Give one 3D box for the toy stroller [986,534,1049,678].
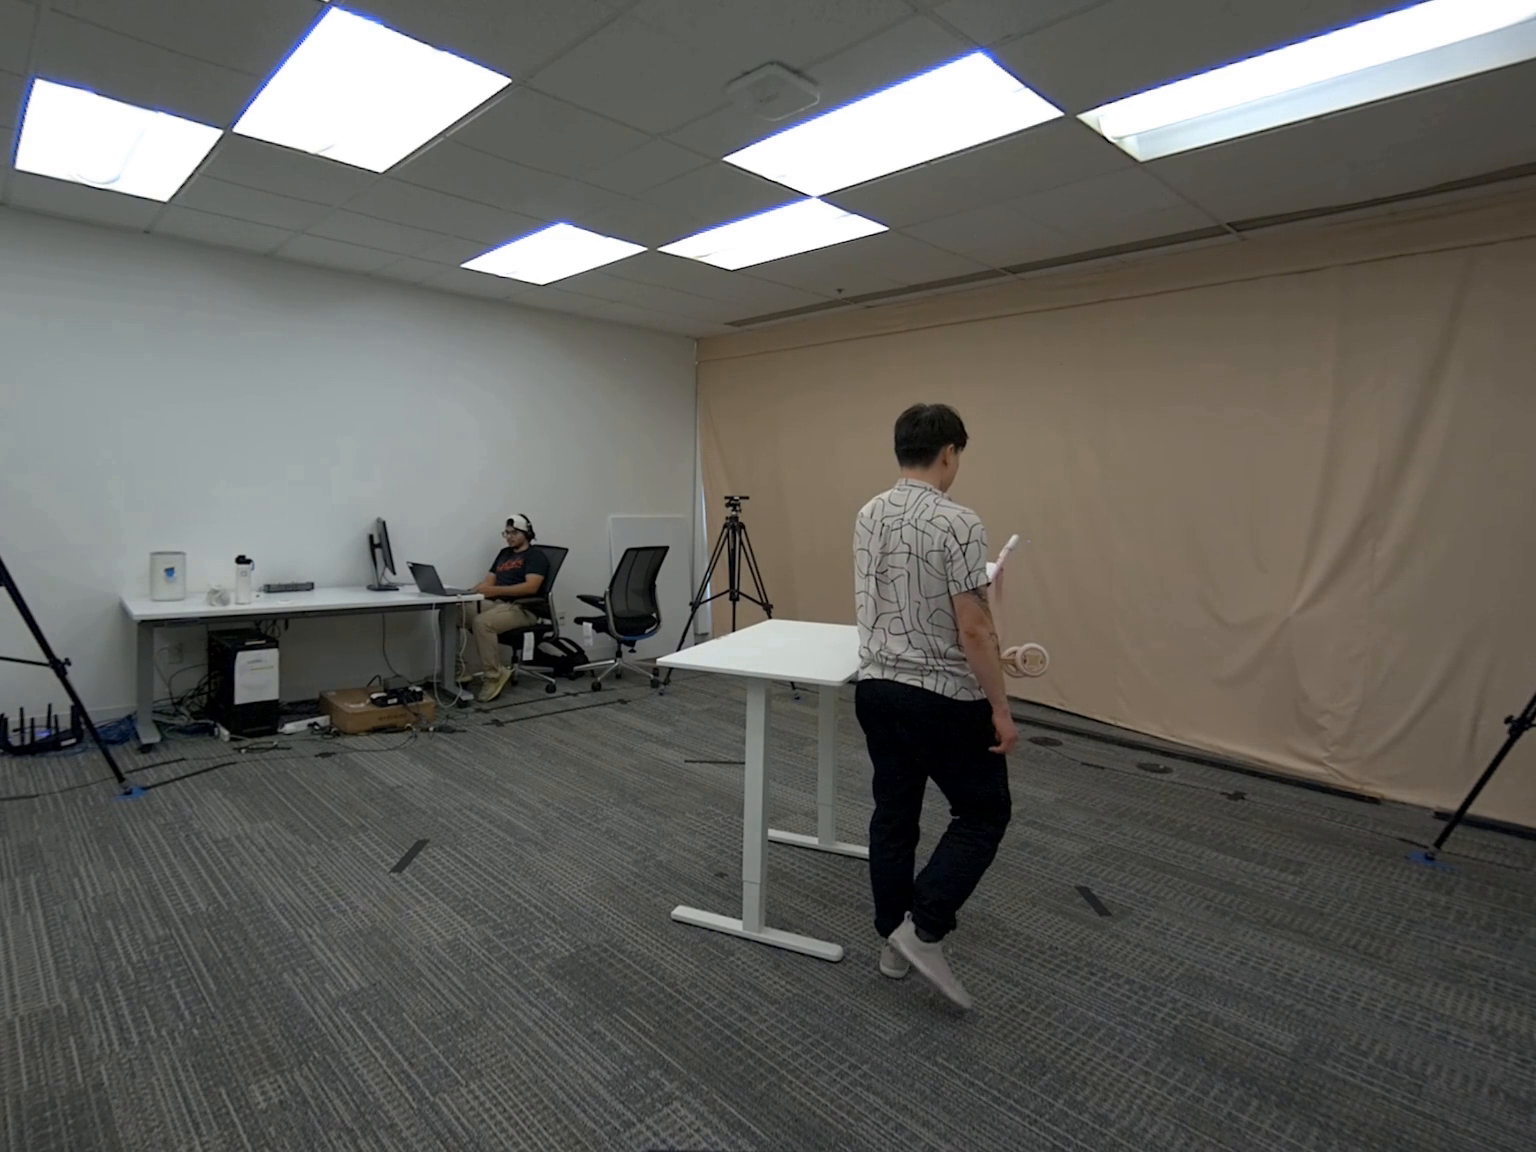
[{"bbox_3d":[0.736,0.154,2.908,0.344,0.539,0.277,-8,-8,11],"label":"toy stroller"}]
